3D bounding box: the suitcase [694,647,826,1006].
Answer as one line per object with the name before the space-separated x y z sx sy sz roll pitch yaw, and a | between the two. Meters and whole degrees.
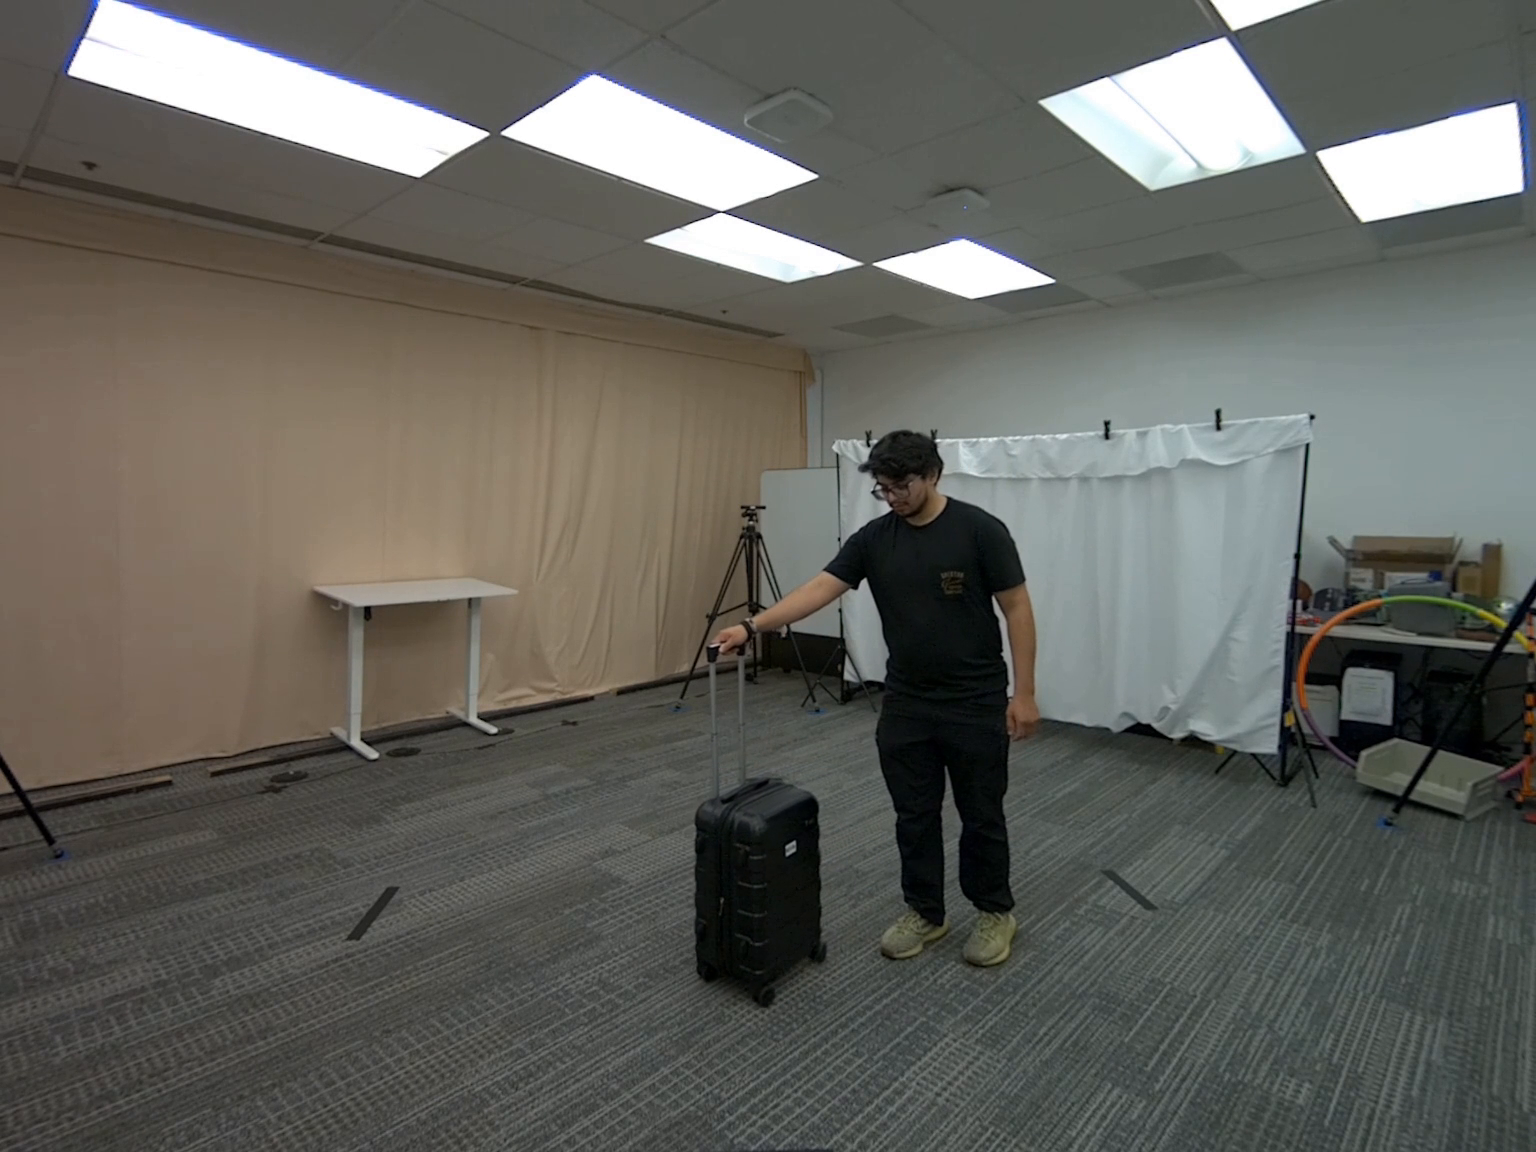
suitcase | -0.019 0.710 2.490 0.265 0.975 0.373 4 7 39
